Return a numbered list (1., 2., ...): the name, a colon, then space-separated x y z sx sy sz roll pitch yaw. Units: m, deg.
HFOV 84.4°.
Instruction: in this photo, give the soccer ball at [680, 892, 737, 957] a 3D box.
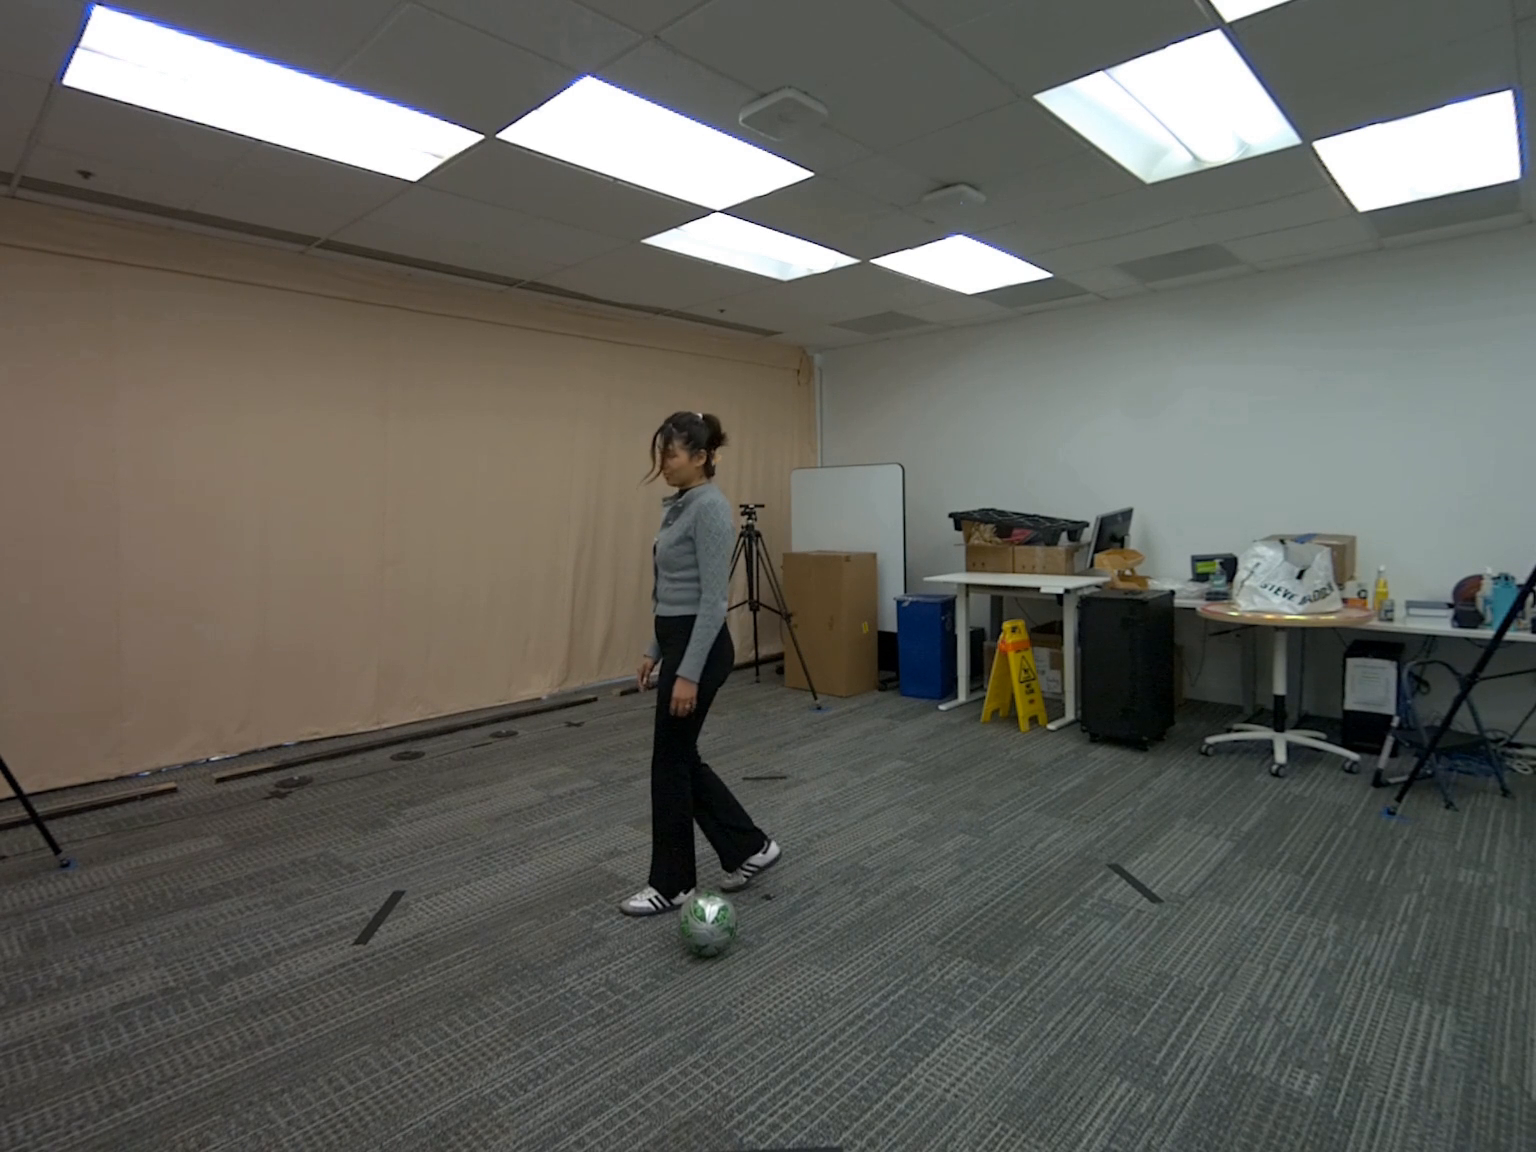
1. soccer ball: -0.185 1.075 2.624 0.187 0.187 0.188 -1 4 -2
